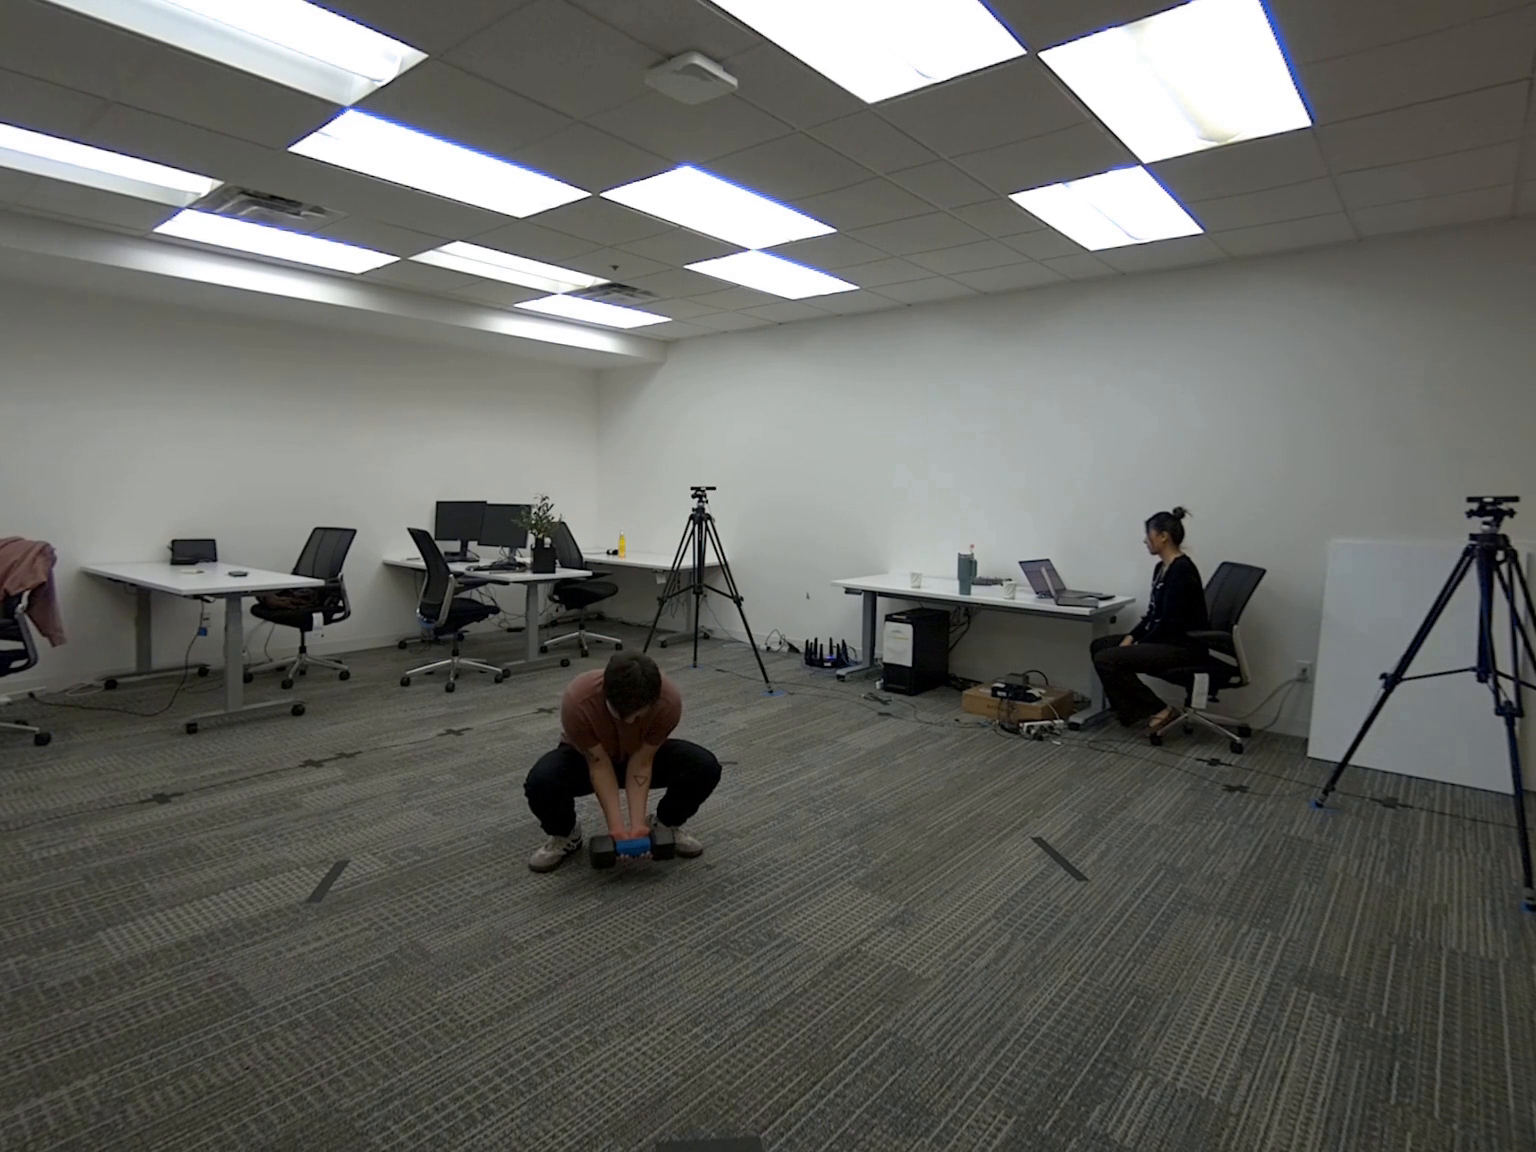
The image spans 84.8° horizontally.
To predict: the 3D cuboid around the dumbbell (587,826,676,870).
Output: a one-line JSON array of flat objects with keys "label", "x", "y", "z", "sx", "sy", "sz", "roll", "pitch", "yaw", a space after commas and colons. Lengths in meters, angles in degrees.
[{"label": "dumbbell", "x": -0.493, "y": 0.938, "z": 2.972, "sx": 0.289, "sy": 0.106, "sz": 0.127, "roll": 0, "pitch": 42, "yaw": -14}]
